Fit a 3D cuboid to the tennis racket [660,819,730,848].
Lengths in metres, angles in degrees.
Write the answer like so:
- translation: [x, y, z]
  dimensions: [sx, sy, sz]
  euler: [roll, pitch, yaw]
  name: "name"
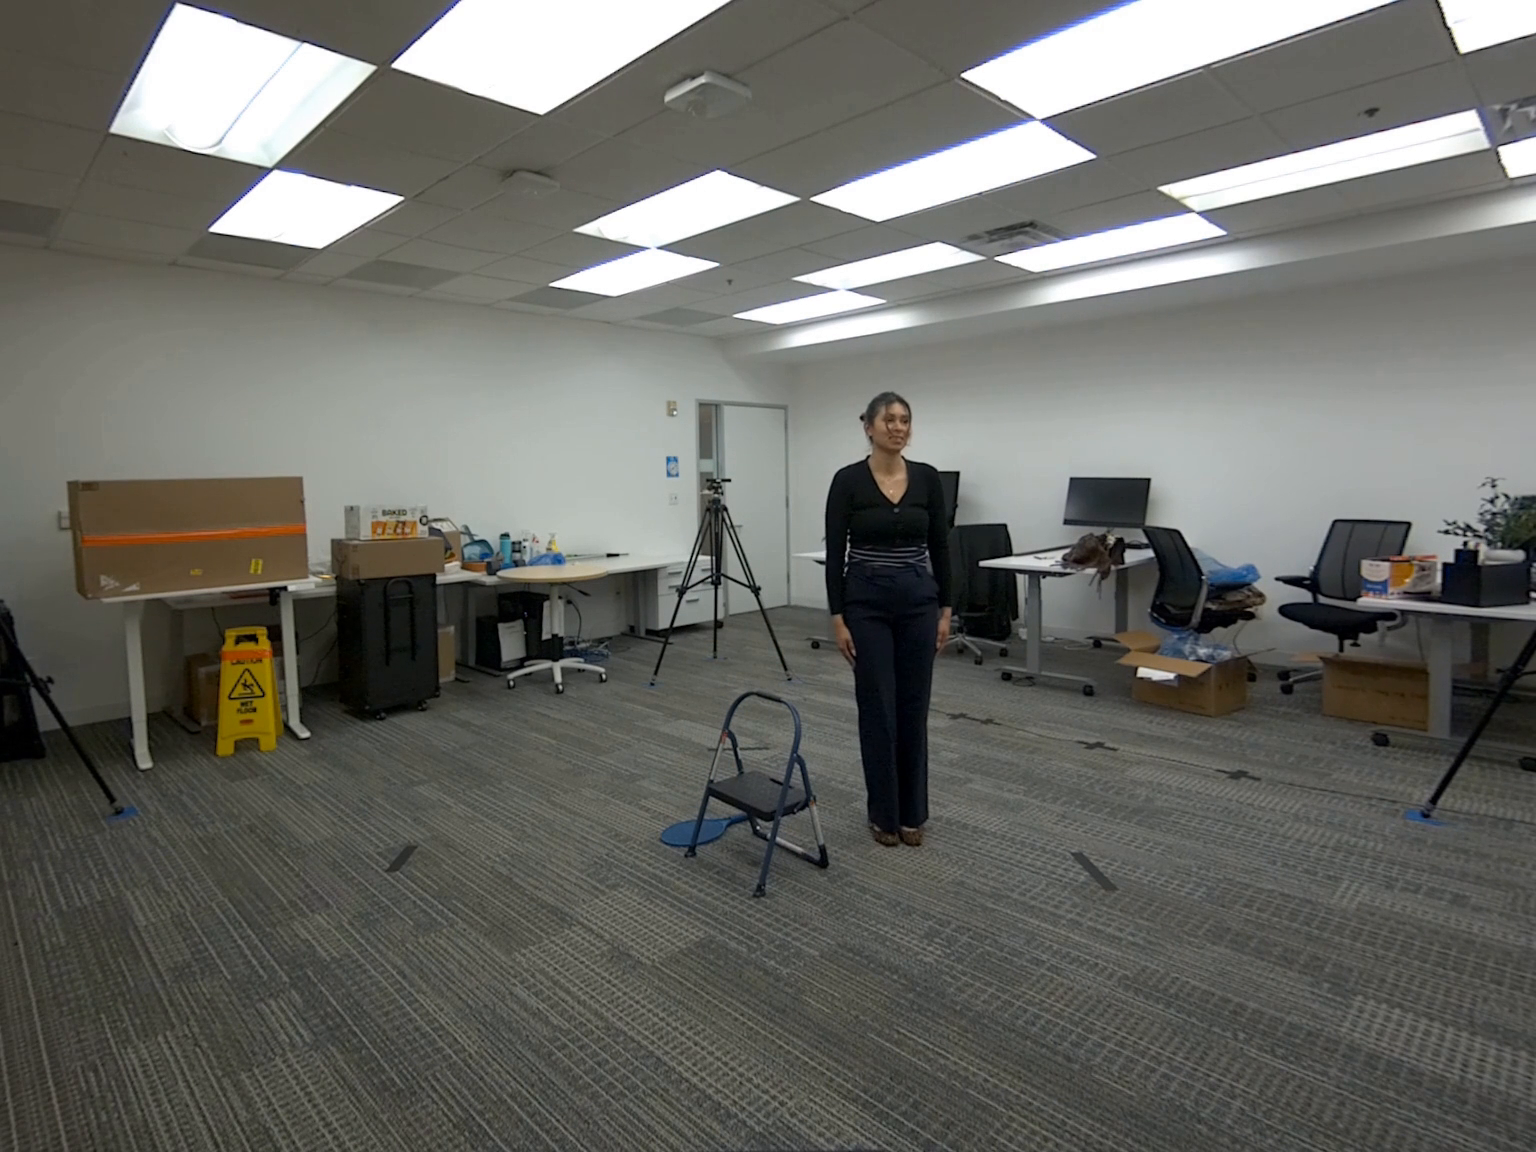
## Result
- translation: [-0.226, 0.996, 3.404]
  dimensions: [0.422, 0.031, 0.220]
  euler: [-7, 9, -37]
  name: "tennis racket"
